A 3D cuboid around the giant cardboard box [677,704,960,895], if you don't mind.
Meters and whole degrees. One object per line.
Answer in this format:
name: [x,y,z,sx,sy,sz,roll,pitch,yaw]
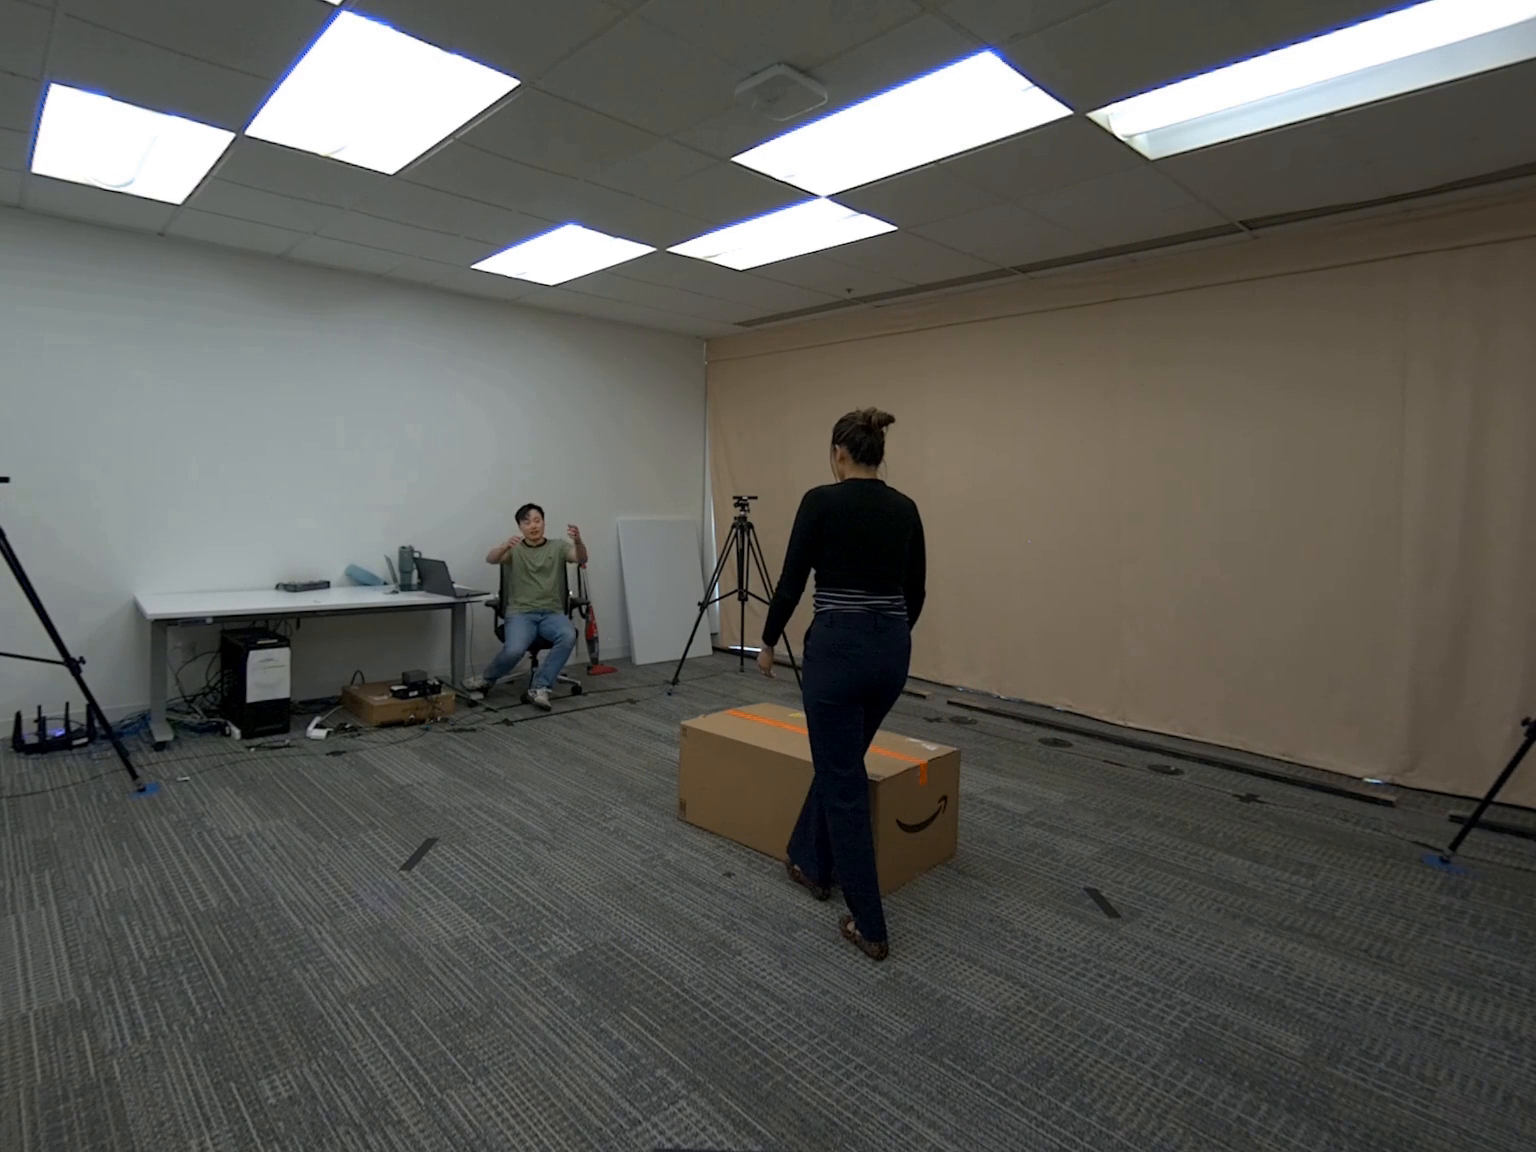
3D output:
giant cardboard box: [0.178,0.864,3.476,1.052,0.425,0.564,6,5,42]
